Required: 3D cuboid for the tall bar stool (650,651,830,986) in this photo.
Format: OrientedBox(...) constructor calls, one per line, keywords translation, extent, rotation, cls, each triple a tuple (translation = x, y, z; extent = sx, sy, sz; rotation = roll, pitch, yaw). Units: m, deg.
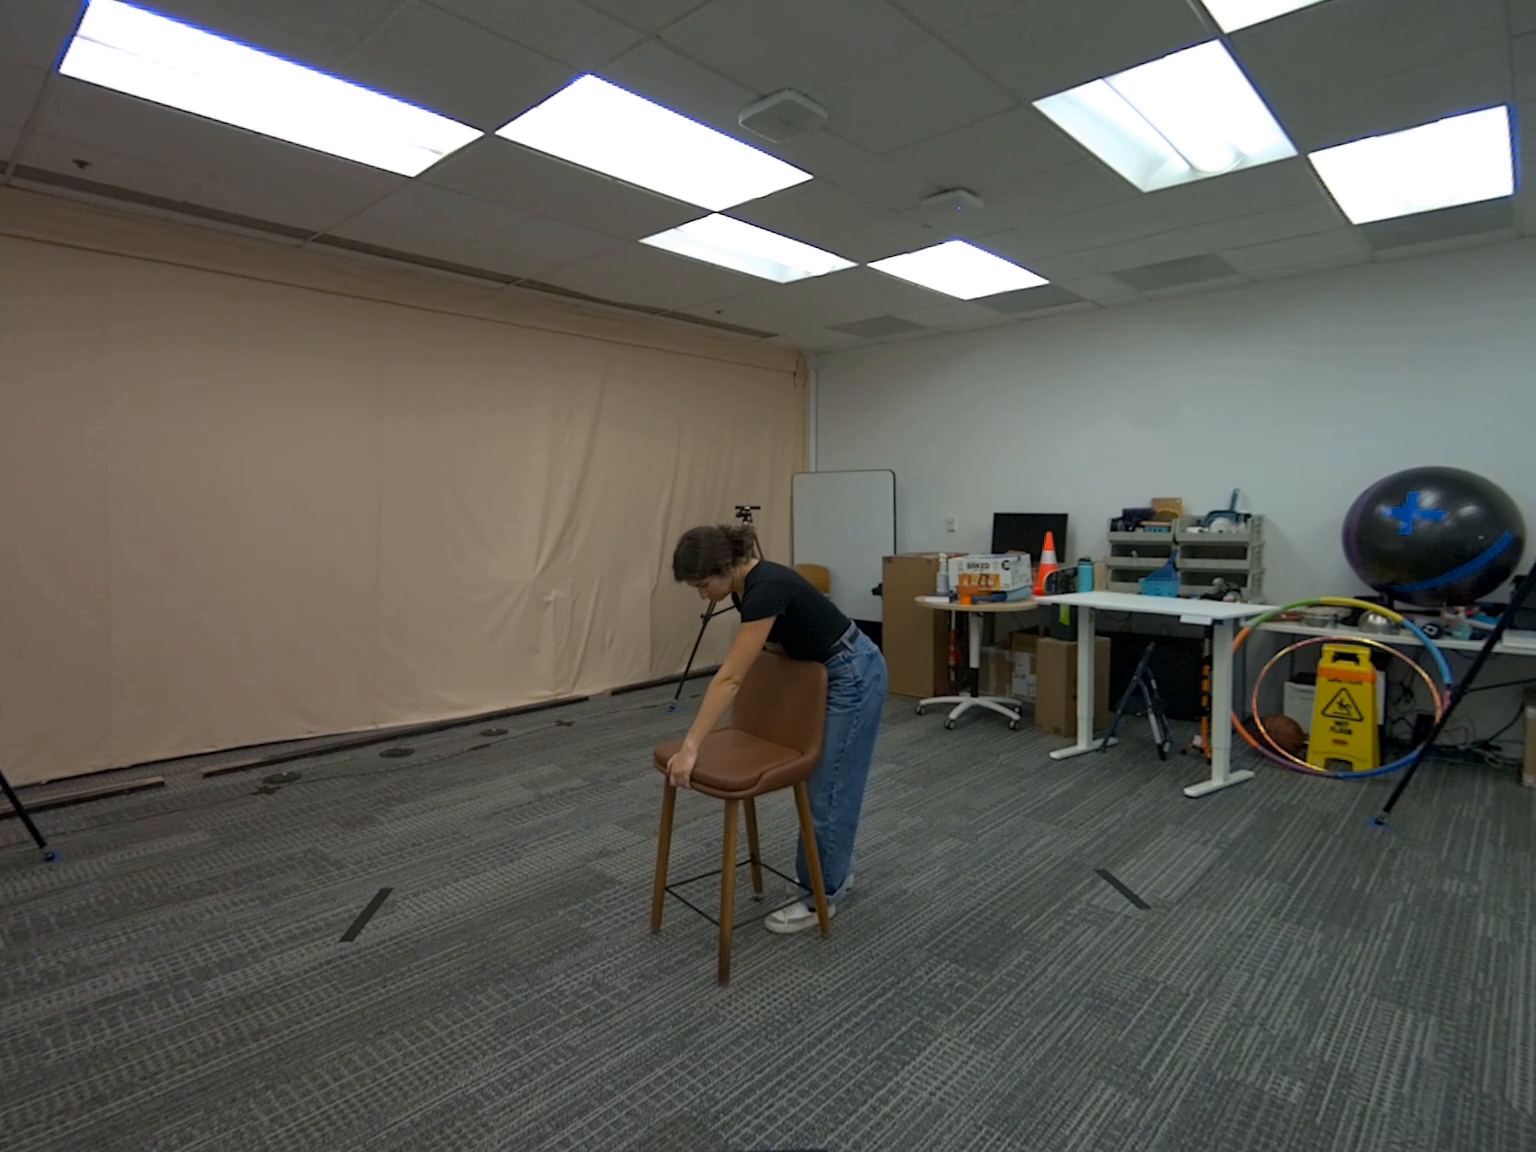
OrientedBox(translation=(-0.088, 0.725, 2.695), extent=(0.453, 0.887, 0.471), rotation=(-2, 5, -38), cls="tall bar stool")
